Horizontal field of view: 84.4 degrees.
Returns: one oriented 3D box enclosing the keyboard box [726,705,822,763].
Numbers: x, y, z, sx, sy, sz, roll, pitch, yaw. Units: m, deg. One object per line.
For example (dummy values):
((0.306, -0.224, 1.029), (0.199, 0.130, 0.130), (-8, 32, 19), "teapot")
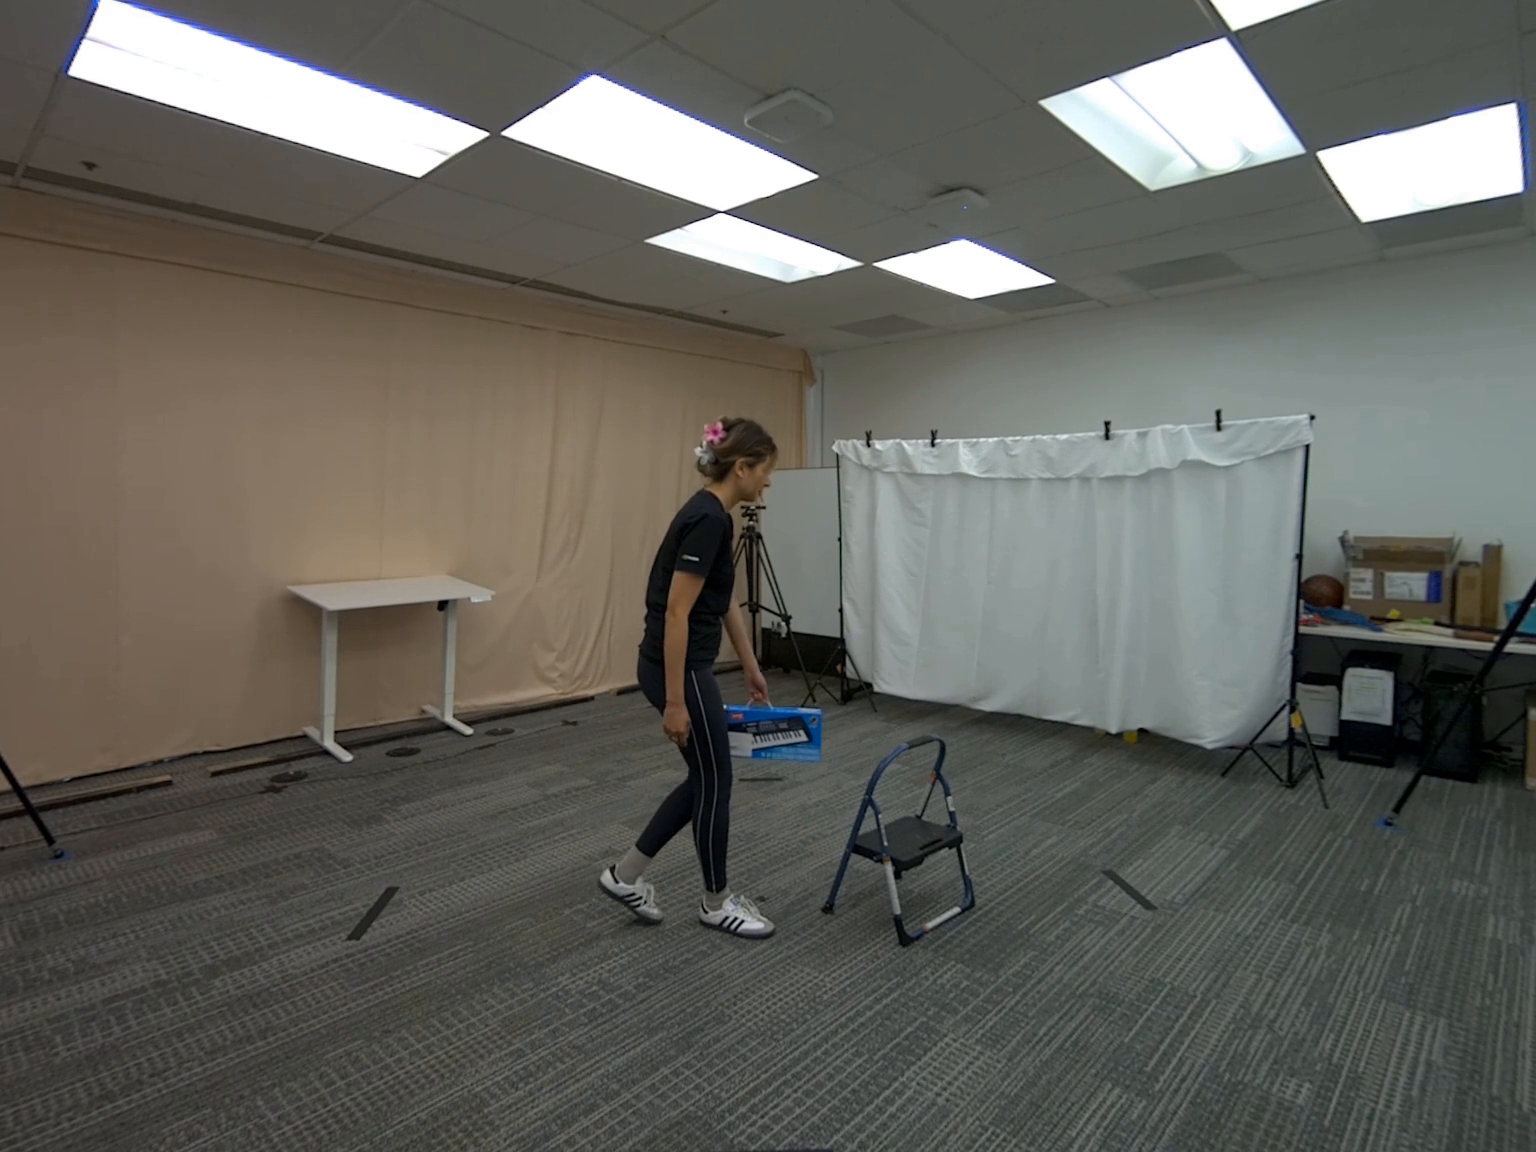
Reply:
((-0.029, 0.547, 2.965), (0.440, 0.175, 0.059), (1, 3, 7), "keyboard box")
